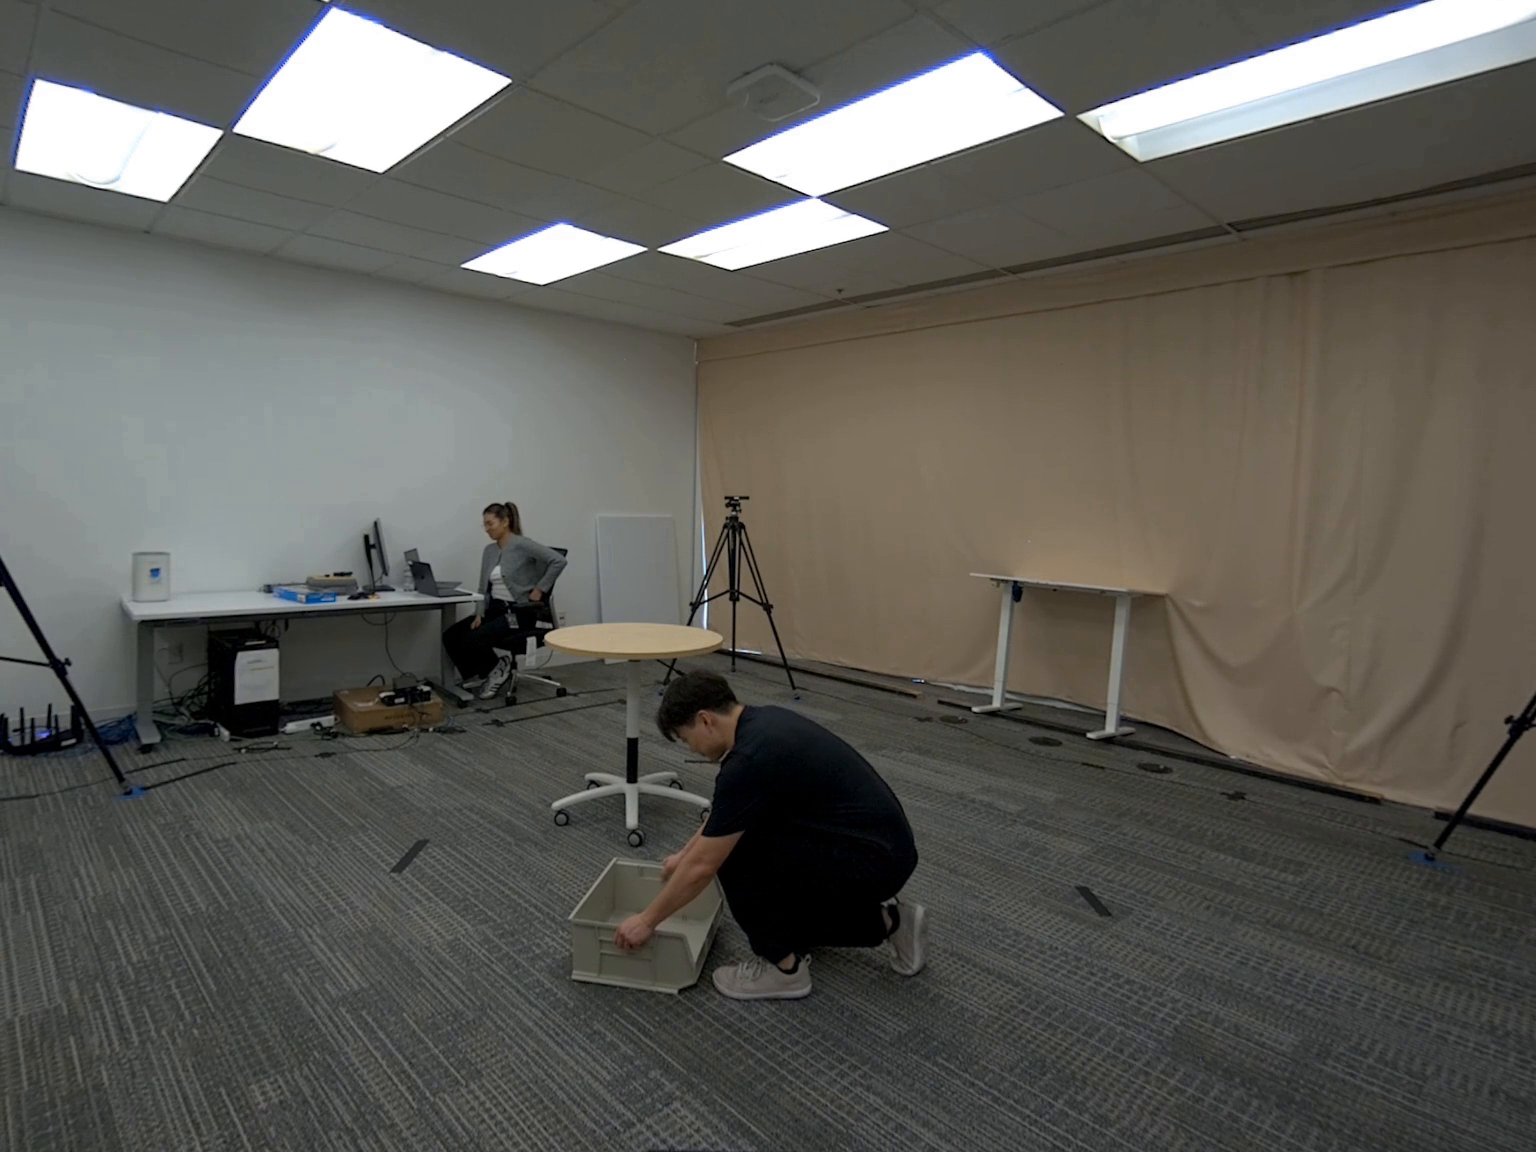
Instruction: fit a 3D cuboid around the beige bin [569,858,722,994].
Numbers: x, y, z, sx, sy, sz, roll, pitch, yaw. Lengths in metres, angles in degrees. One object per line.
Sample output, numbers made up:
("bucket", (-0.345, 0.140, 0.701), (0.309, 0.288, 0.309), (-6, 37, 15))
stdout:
("beige bin", (-0.359, 1.054, 2.572), (0.380, 0.188, 0.421), (2, 6, 8))
